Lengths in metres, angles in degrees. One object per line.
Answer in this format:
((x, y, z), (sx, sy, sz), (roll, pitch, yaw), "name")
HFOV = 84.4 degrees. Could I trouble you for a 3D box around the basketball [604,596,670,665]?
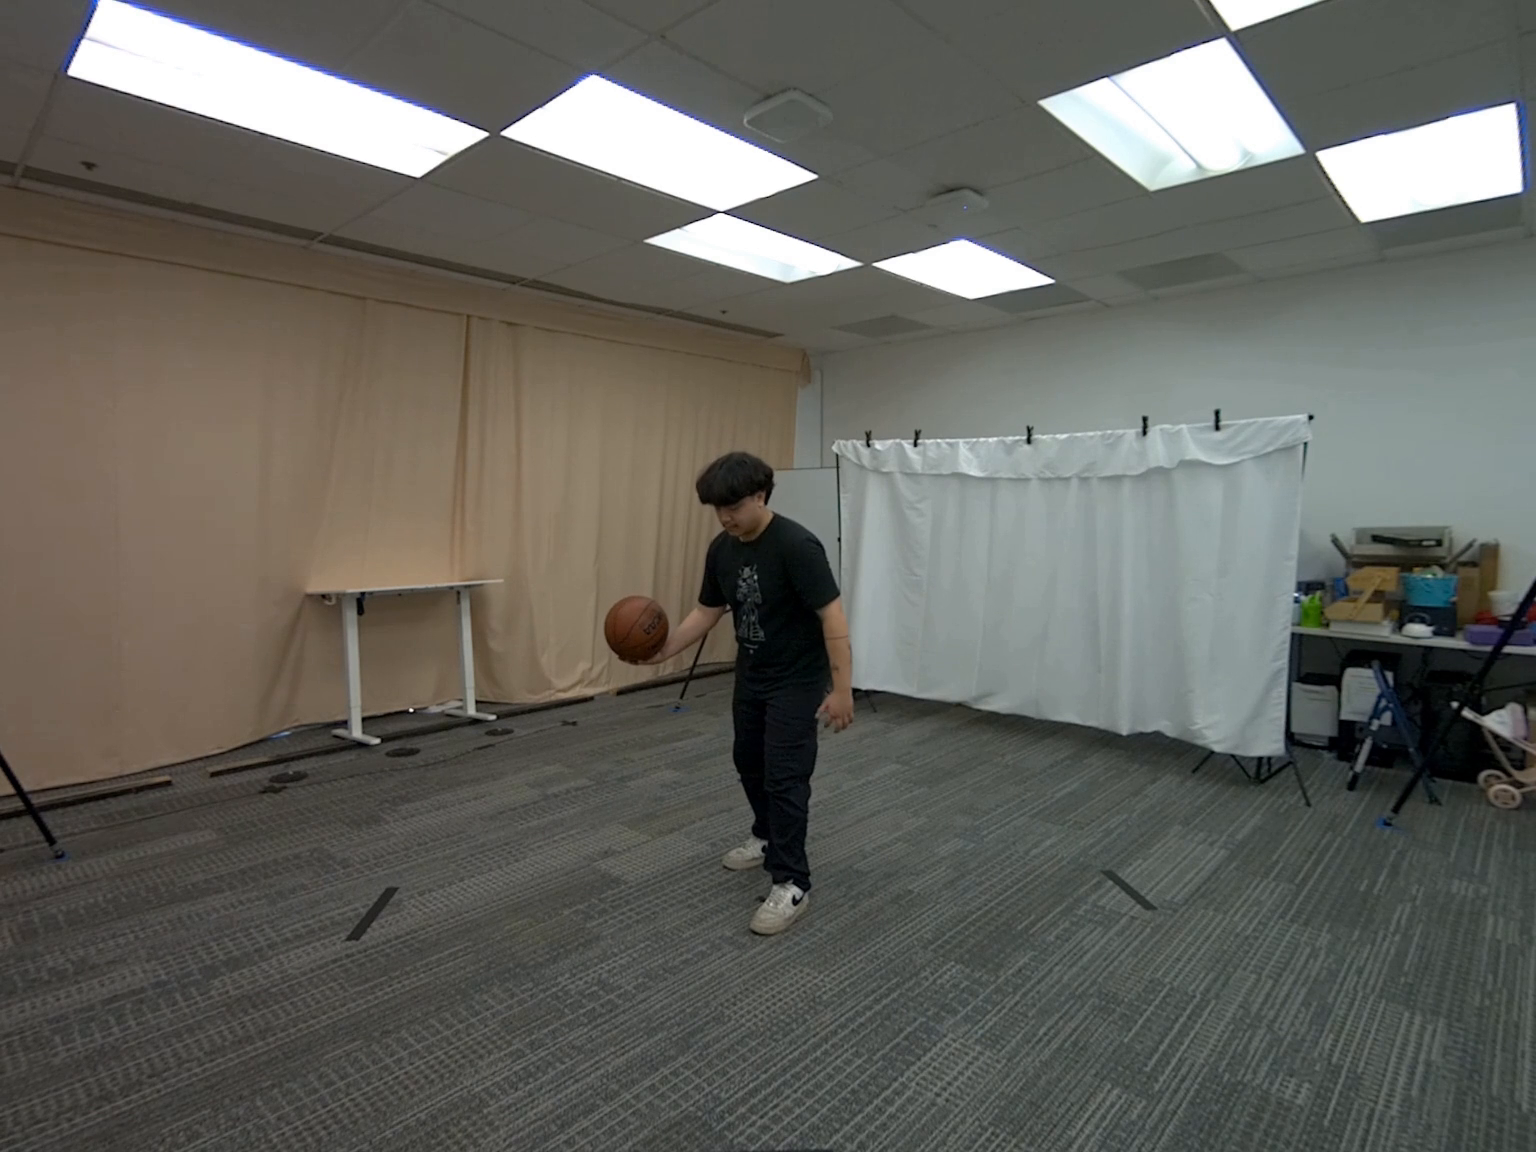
((-0.471, 0.197, 3.104), (0.236, 0.235, 0.237), (0, 4, -2), "basketball")
